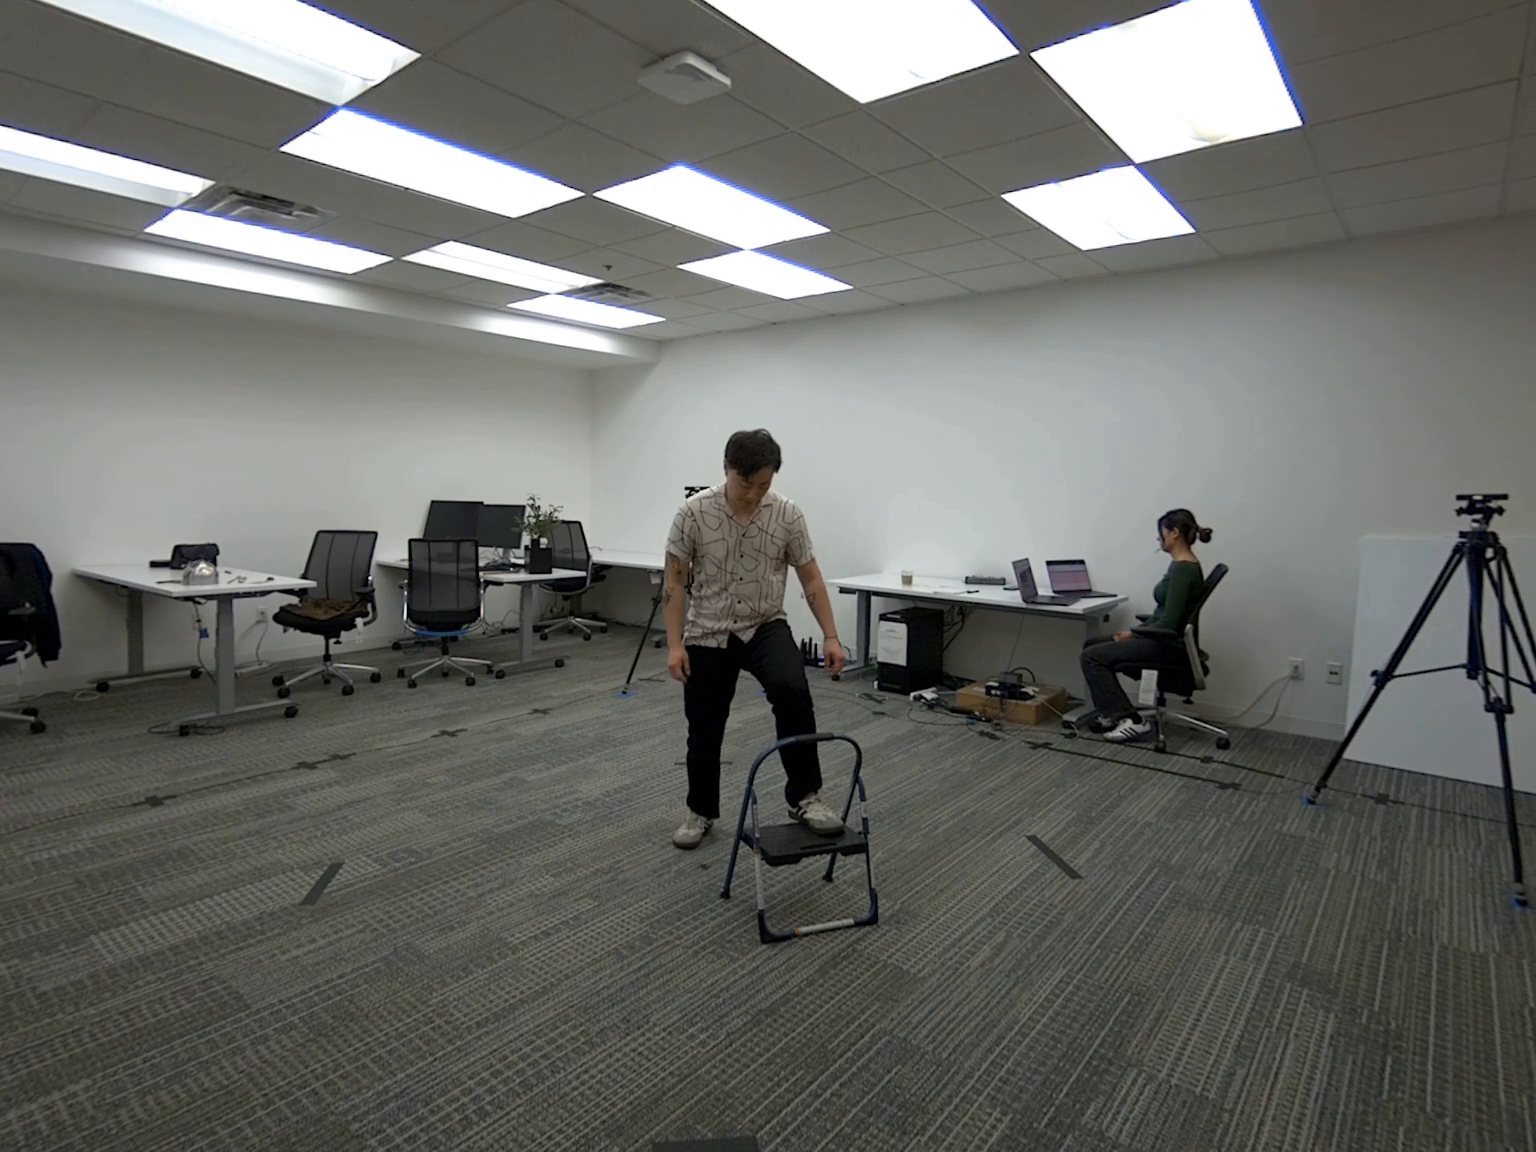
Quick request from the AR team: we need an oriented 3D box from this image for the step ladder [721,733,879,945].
[{"bbox_3d":[0.100,0.798,2.802,0.421,0.604,0.358,0,4,-24],"label":"step ladder"}]
